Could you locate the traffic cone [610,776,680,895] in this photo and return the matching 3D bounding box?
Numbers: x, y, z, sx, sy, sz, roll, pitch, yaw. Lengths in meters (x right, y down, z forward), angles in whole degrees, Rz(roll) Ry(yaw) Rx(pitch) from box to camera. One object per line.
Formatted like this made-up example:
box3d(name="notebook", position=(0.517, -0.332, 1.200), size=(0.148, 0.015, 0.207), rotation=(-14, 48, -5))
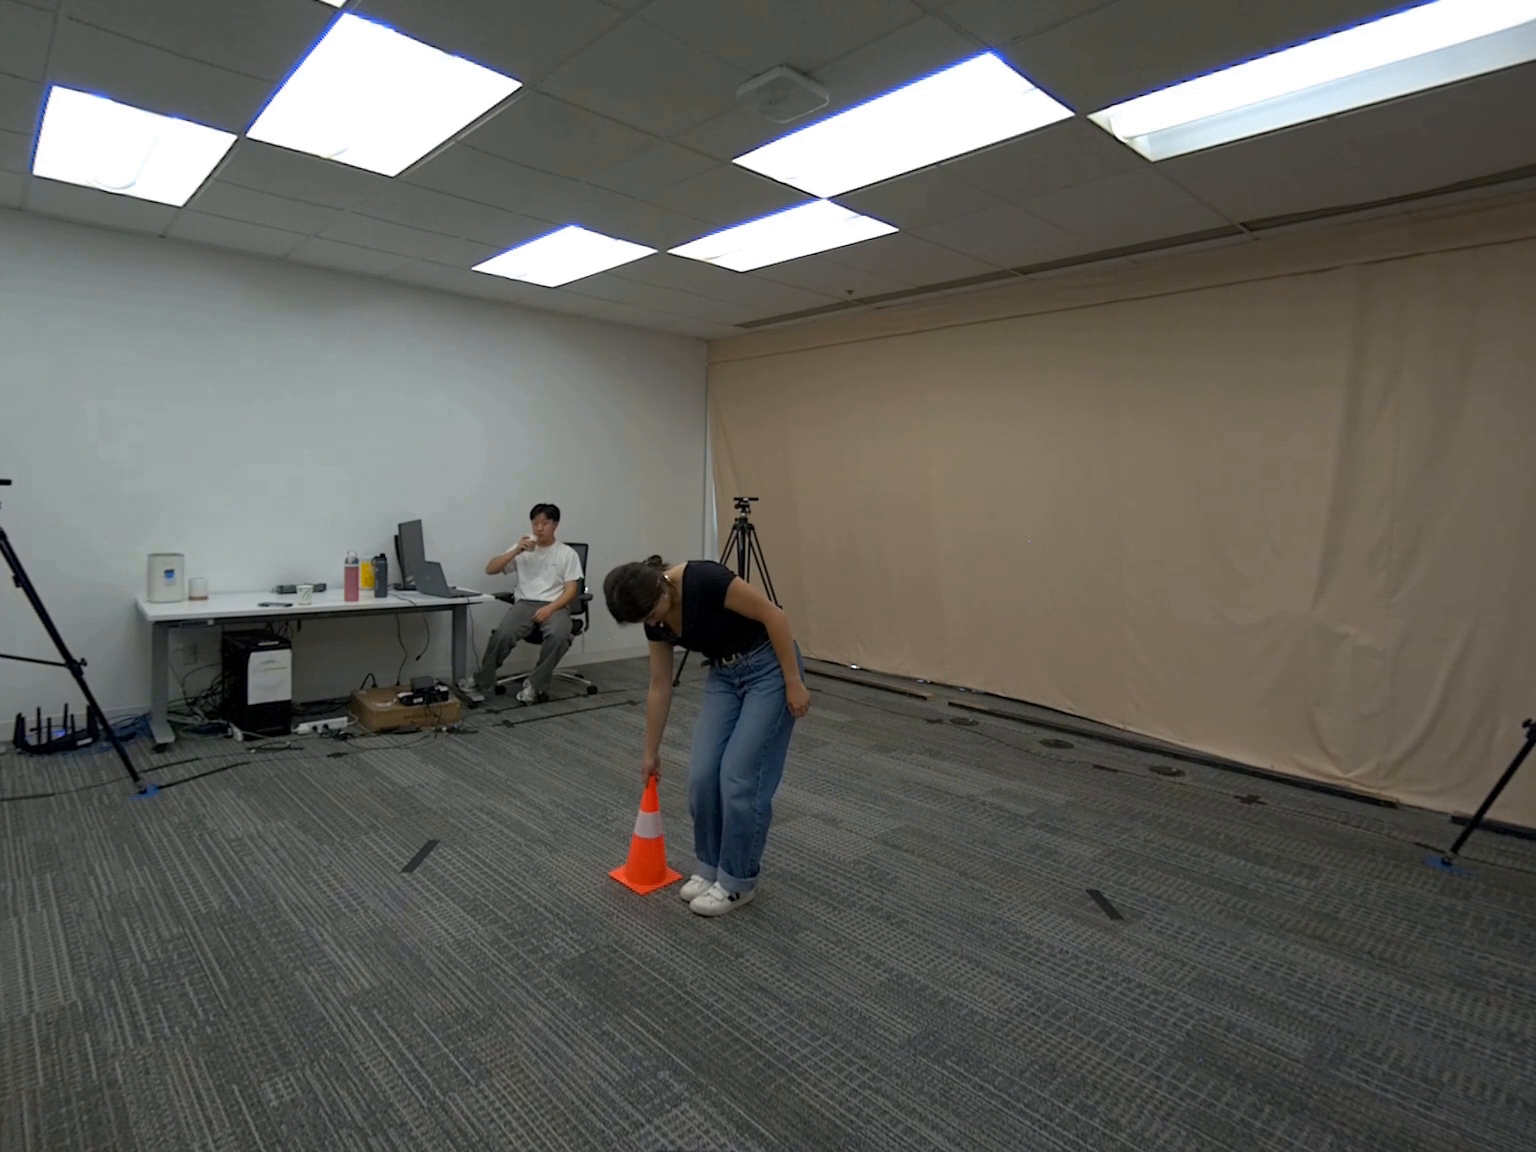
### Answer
box3d(name="traffic cone", position=(-0.449, 0.913, 3.048), size=(0.210, 0.382, 0.199), rotation=(9, 8, 42))
